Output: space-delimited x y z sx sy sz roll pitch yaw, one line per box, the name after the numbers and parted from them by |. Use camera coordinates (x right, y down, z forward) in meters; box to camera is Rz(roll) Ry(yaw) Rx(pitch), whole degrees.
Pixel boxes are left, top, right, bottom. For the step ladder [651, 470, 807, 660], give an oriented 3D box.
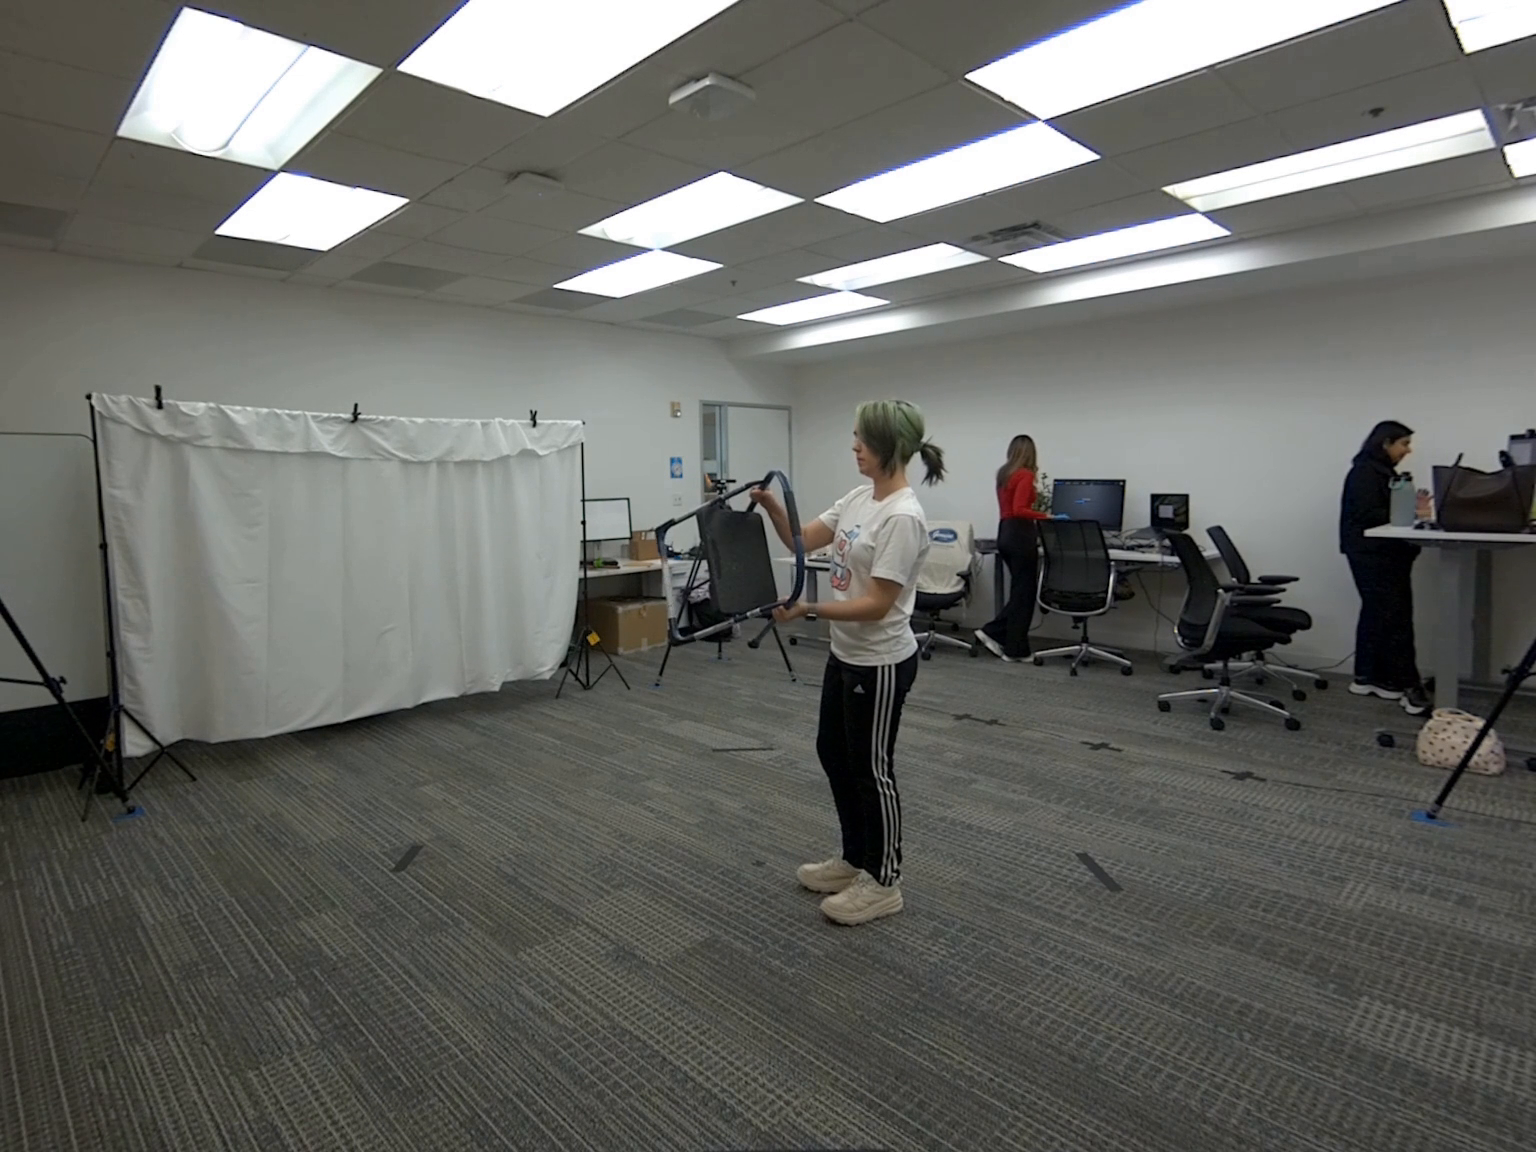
-0.043 -0.064 2.672 0.339 0.439 0.611 3 -23 -36 | step ladder
